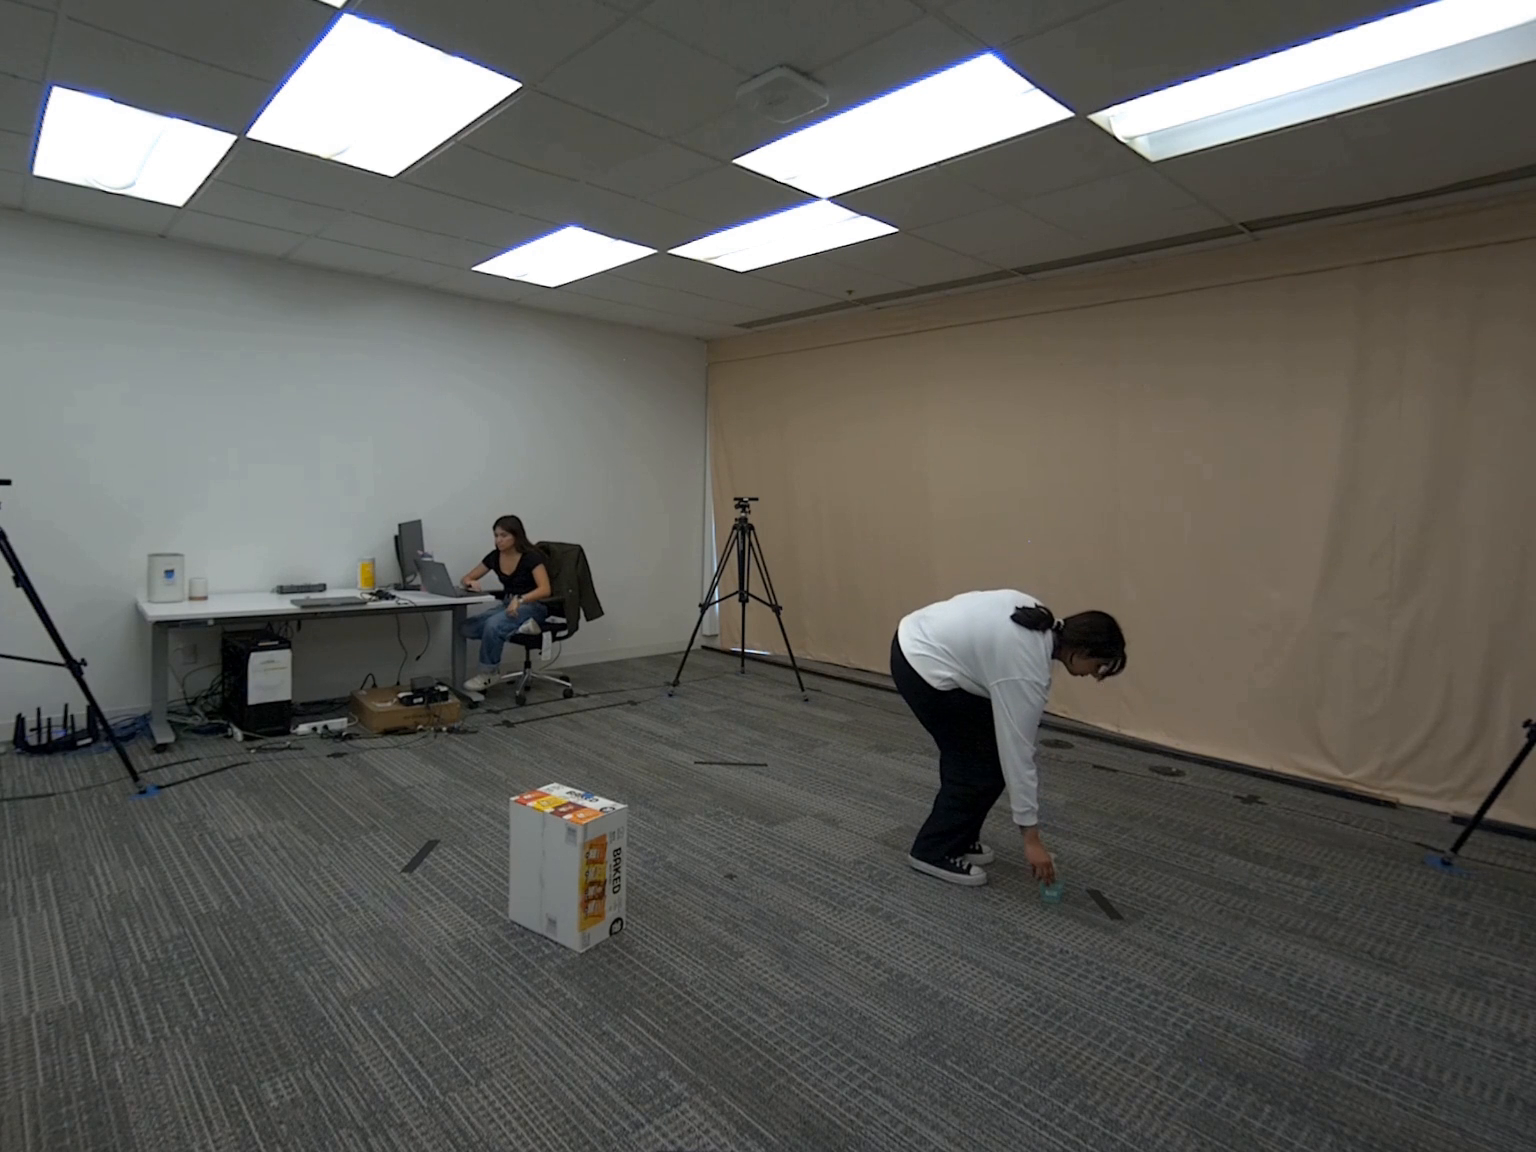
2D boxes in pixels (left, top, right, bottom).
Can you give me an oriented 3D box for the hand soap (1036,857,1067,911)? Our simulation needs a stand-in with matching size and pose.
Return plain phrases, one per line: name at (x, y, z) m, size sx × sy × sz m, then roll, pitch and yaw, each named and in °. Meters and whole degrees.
hand soap at (0.993, 1.078, 2.968) m, size 0.085 × 0.168 × 0.043 m, roll 2°, pitch 2°, yaw 3°
